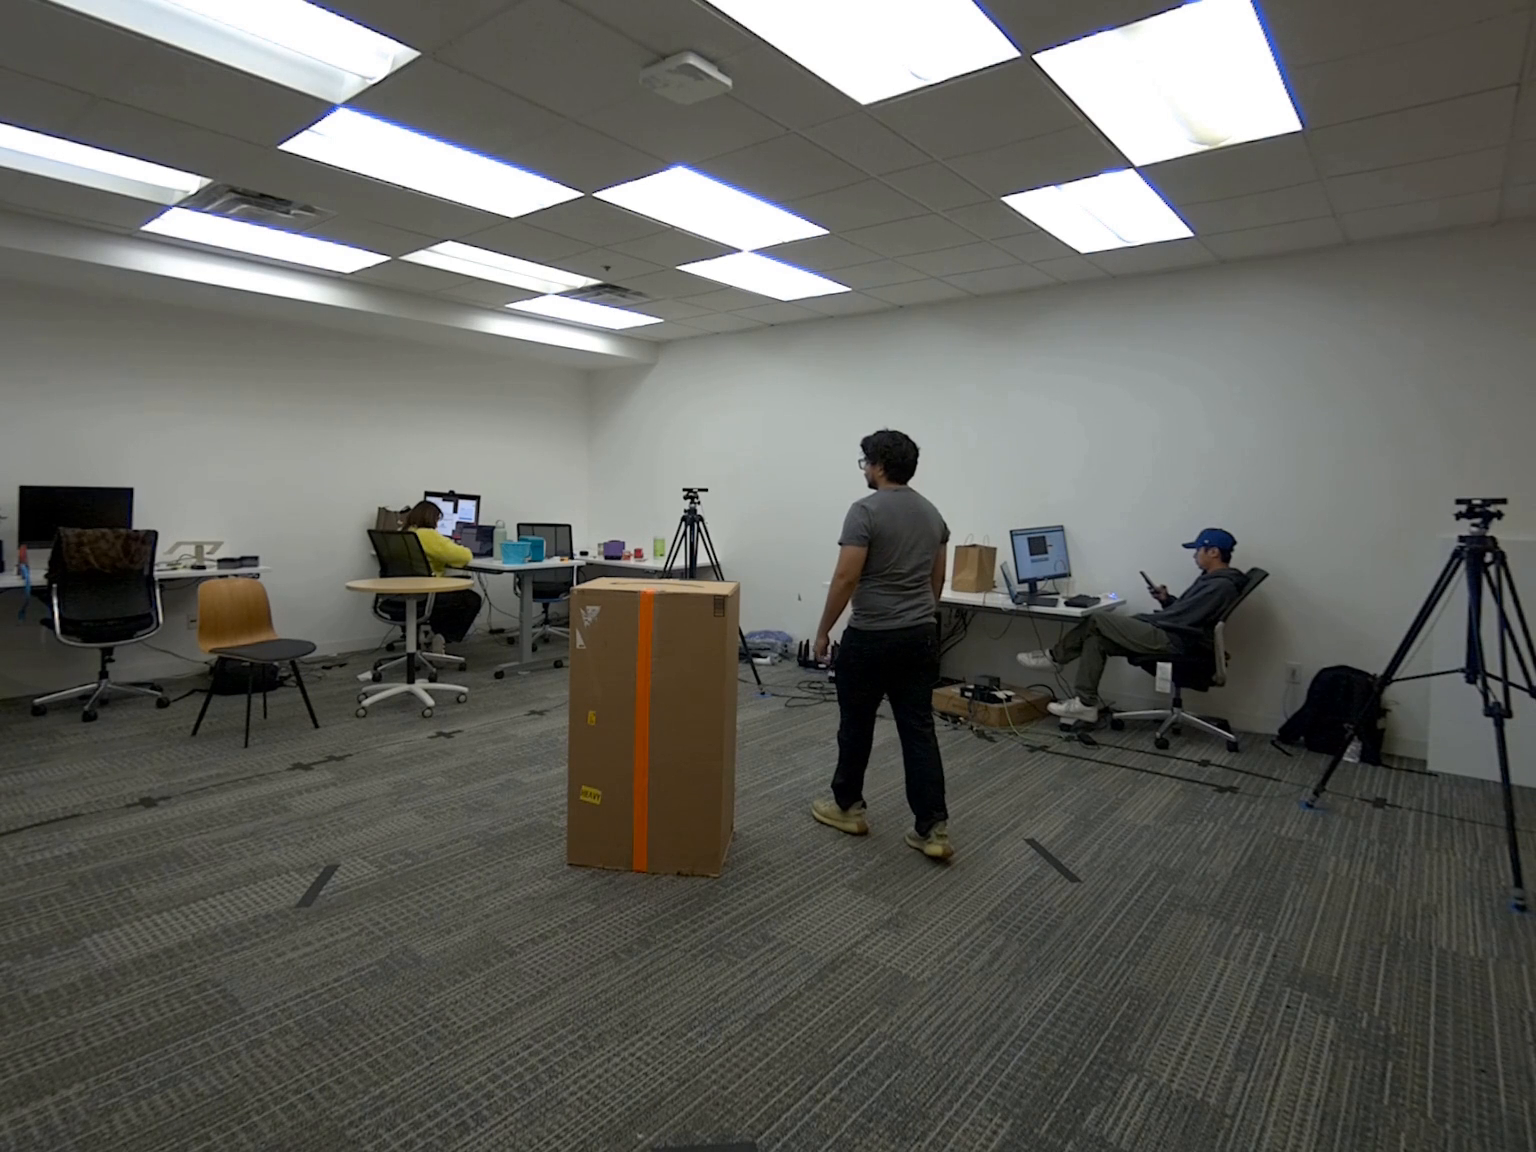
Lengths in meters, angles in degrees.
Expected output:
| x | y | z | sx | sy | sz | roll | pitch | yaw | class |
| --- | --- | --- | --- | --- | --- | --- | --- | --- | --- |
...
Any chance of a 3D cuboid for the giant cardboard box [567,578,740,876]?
| x | y | z | sx | sy | sz | roll | pitch | yaw | class |
| --- | --- | --- | --- | --- | --- | --- | --- | --- | --- |
| -0.434 | 0.538 | 3.264 | 0.584 | 1.023 | 0.423 | 2 | 3 | 9 | giant cardboard box |
